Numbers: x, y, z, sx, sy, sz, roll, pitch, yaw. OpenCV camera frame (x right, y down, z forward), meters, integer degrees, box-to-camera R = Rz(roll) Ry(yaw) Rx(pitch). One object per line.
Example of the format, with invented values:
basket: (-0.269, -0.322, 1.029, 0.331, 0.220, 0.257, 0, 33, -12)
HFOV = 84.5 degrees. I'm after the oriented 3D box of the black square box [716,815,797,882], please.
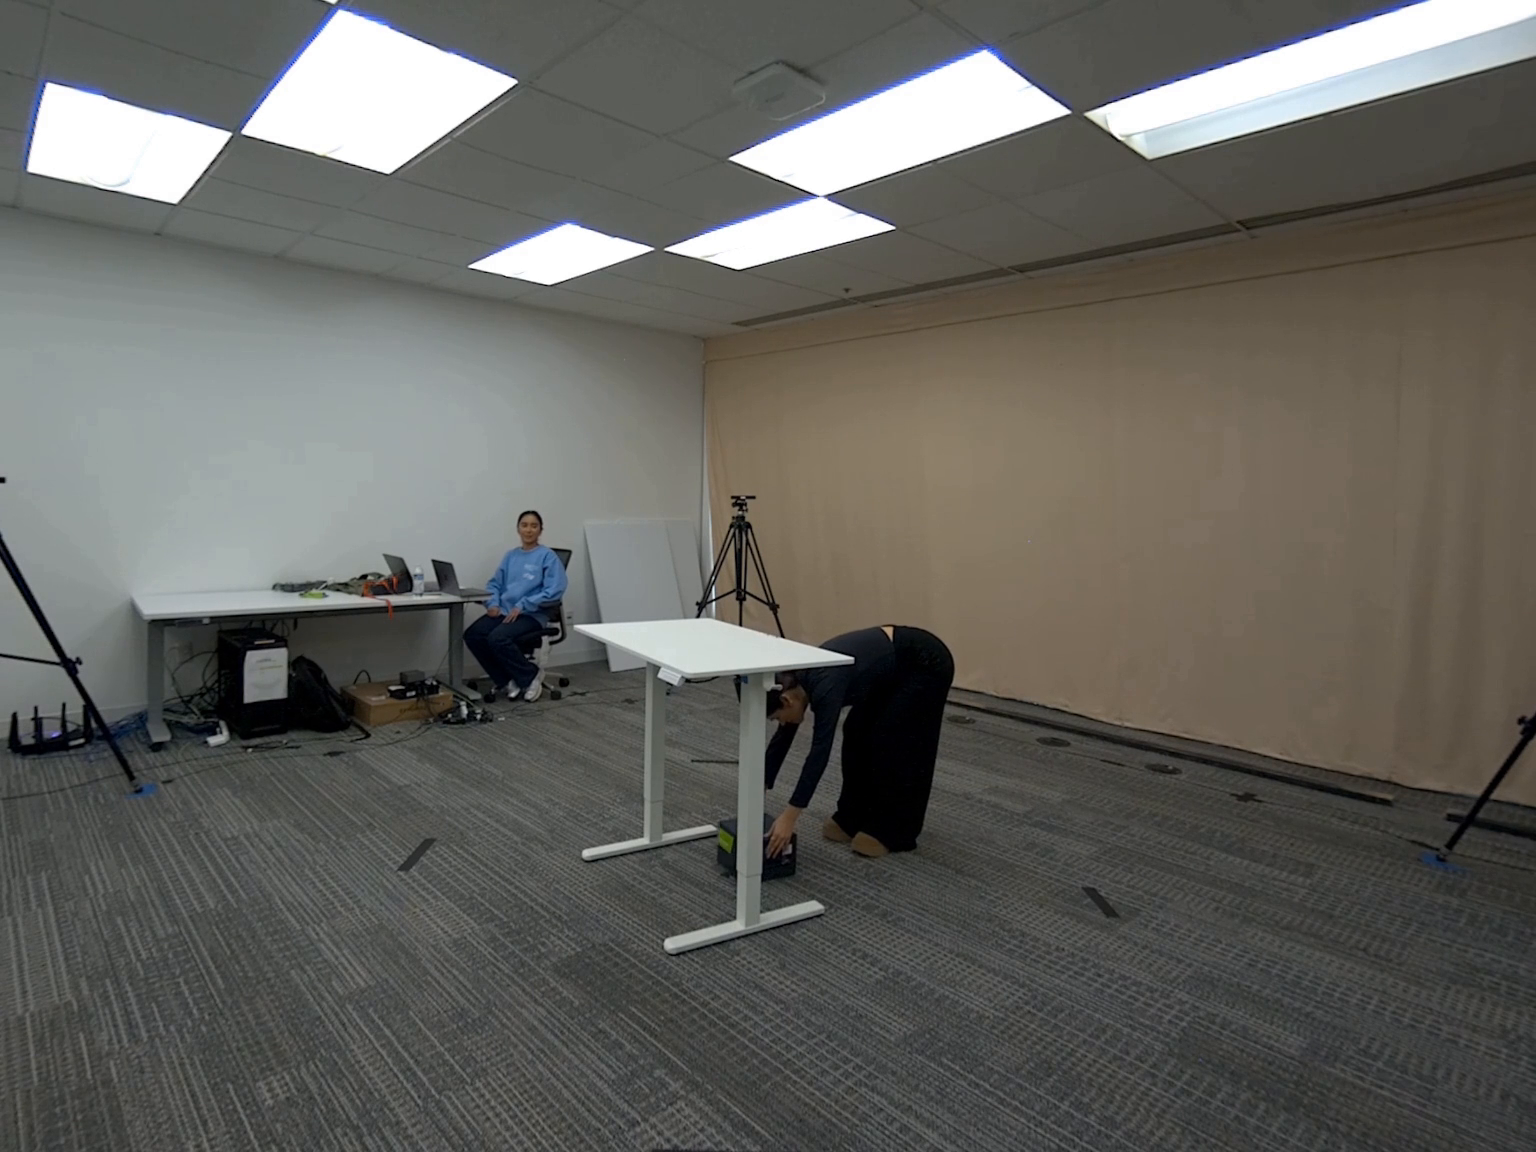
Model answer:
black square box: (-0.050, 1.017, 3.160, 0.213, 0.155, 0.233, 0, 4, -29)
